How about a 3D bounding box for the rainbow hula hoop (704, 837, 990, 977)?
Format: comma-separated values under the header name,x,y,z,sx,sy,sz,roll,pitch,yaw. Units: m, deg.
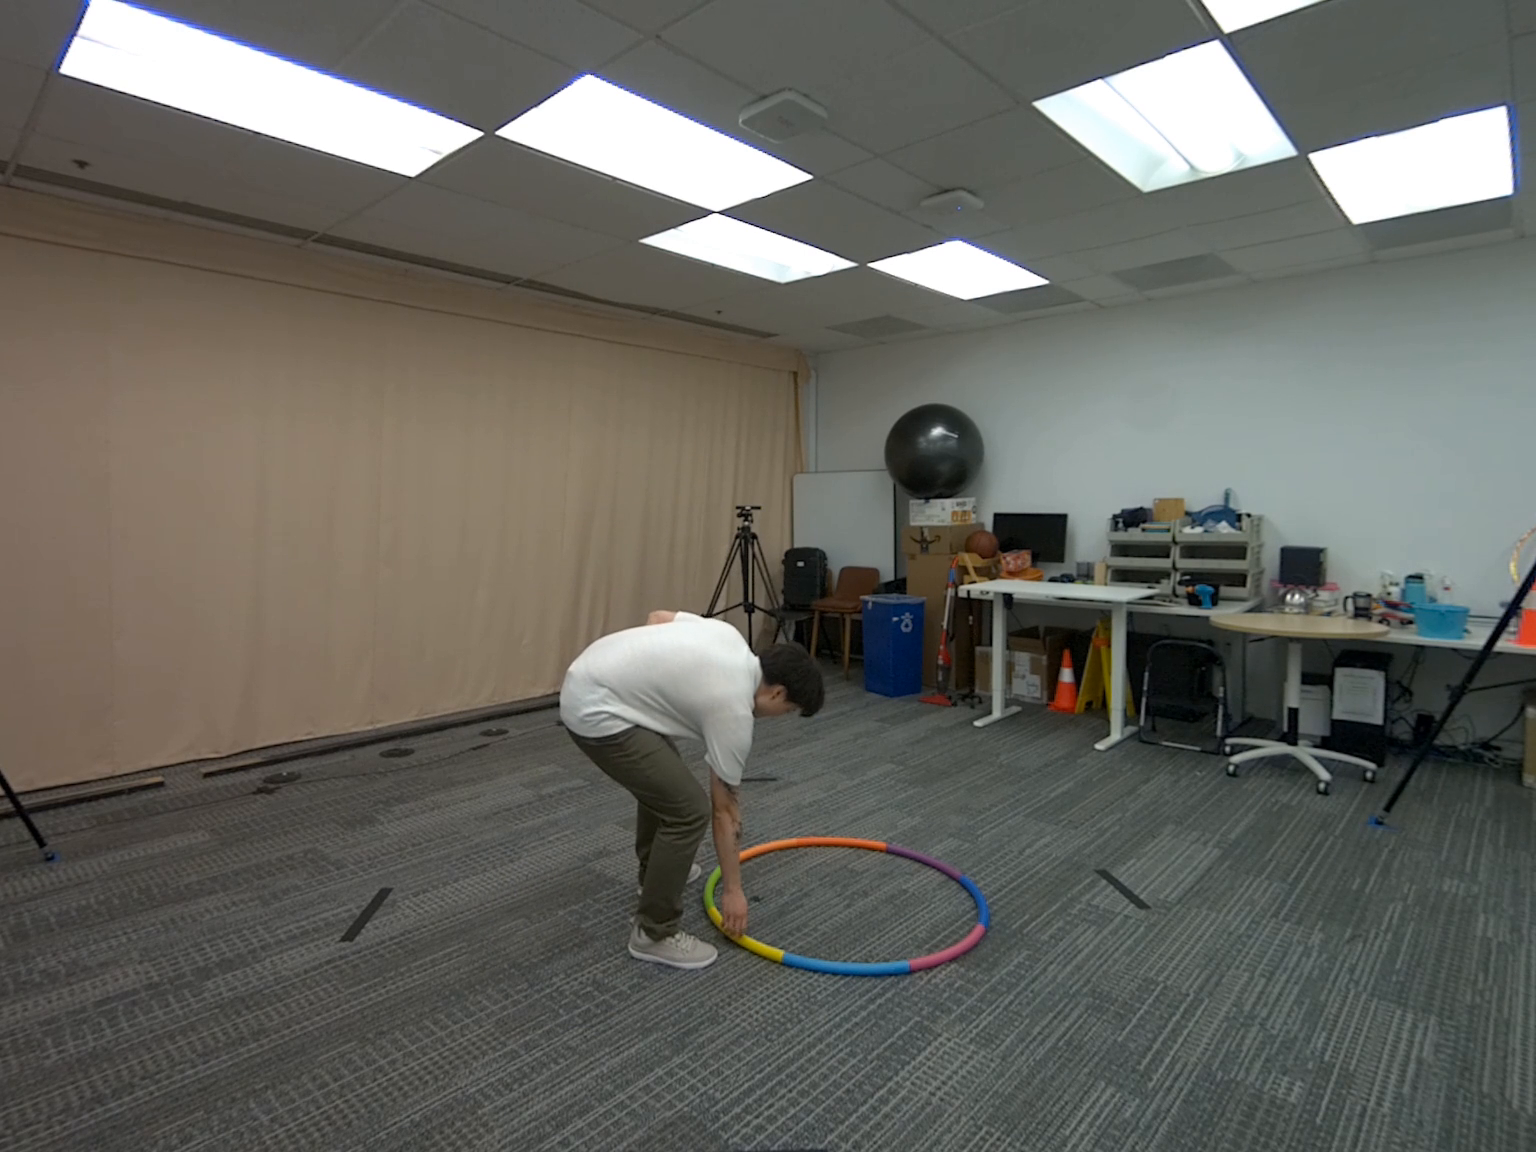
name,x,y,z,sx,sy,sz,roll,pitch,yaw
rainbow hula hoop,0.263,1.115,2.971,0.978,0.035,0.982,0,5,-2
